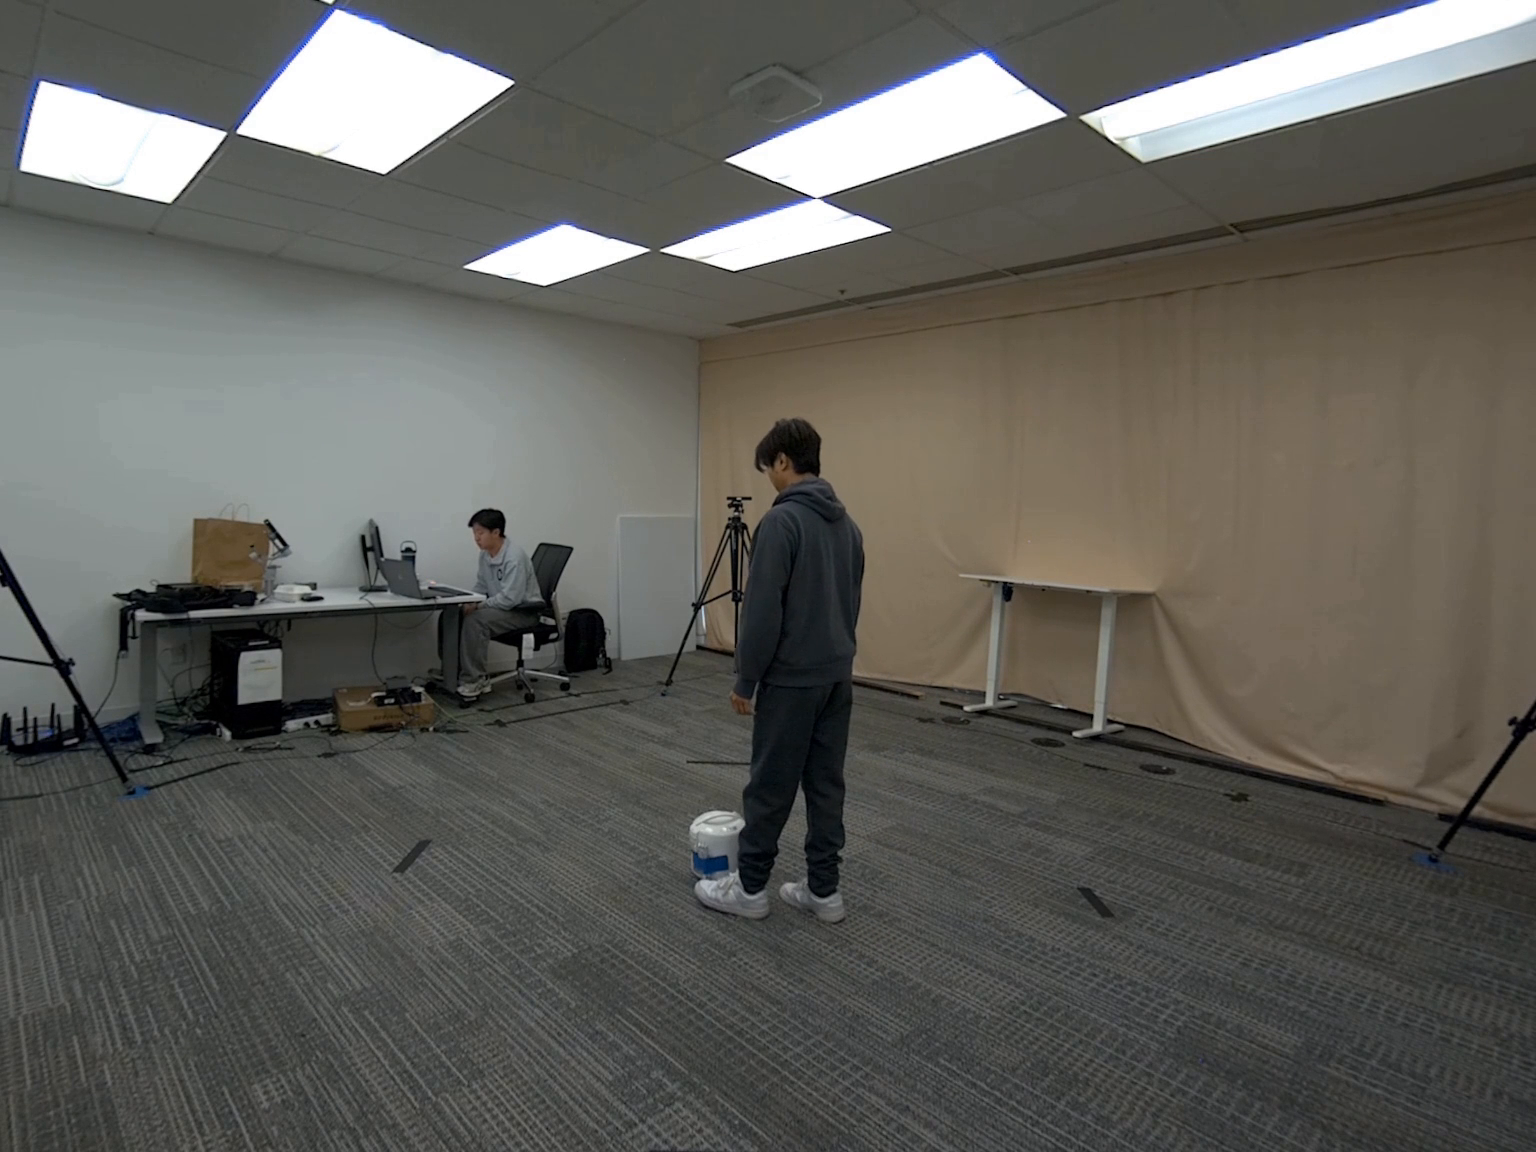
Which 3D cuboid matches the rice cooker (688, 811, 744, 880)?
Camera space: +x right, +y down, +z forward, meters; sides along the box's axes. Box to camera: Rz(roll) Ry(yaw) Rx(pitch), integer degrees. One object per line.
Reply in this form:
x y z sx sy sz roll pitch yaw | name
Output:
-0.189 0.987 3.110 0.217 0.232 0.222 0 5 -22 | rice cooker
